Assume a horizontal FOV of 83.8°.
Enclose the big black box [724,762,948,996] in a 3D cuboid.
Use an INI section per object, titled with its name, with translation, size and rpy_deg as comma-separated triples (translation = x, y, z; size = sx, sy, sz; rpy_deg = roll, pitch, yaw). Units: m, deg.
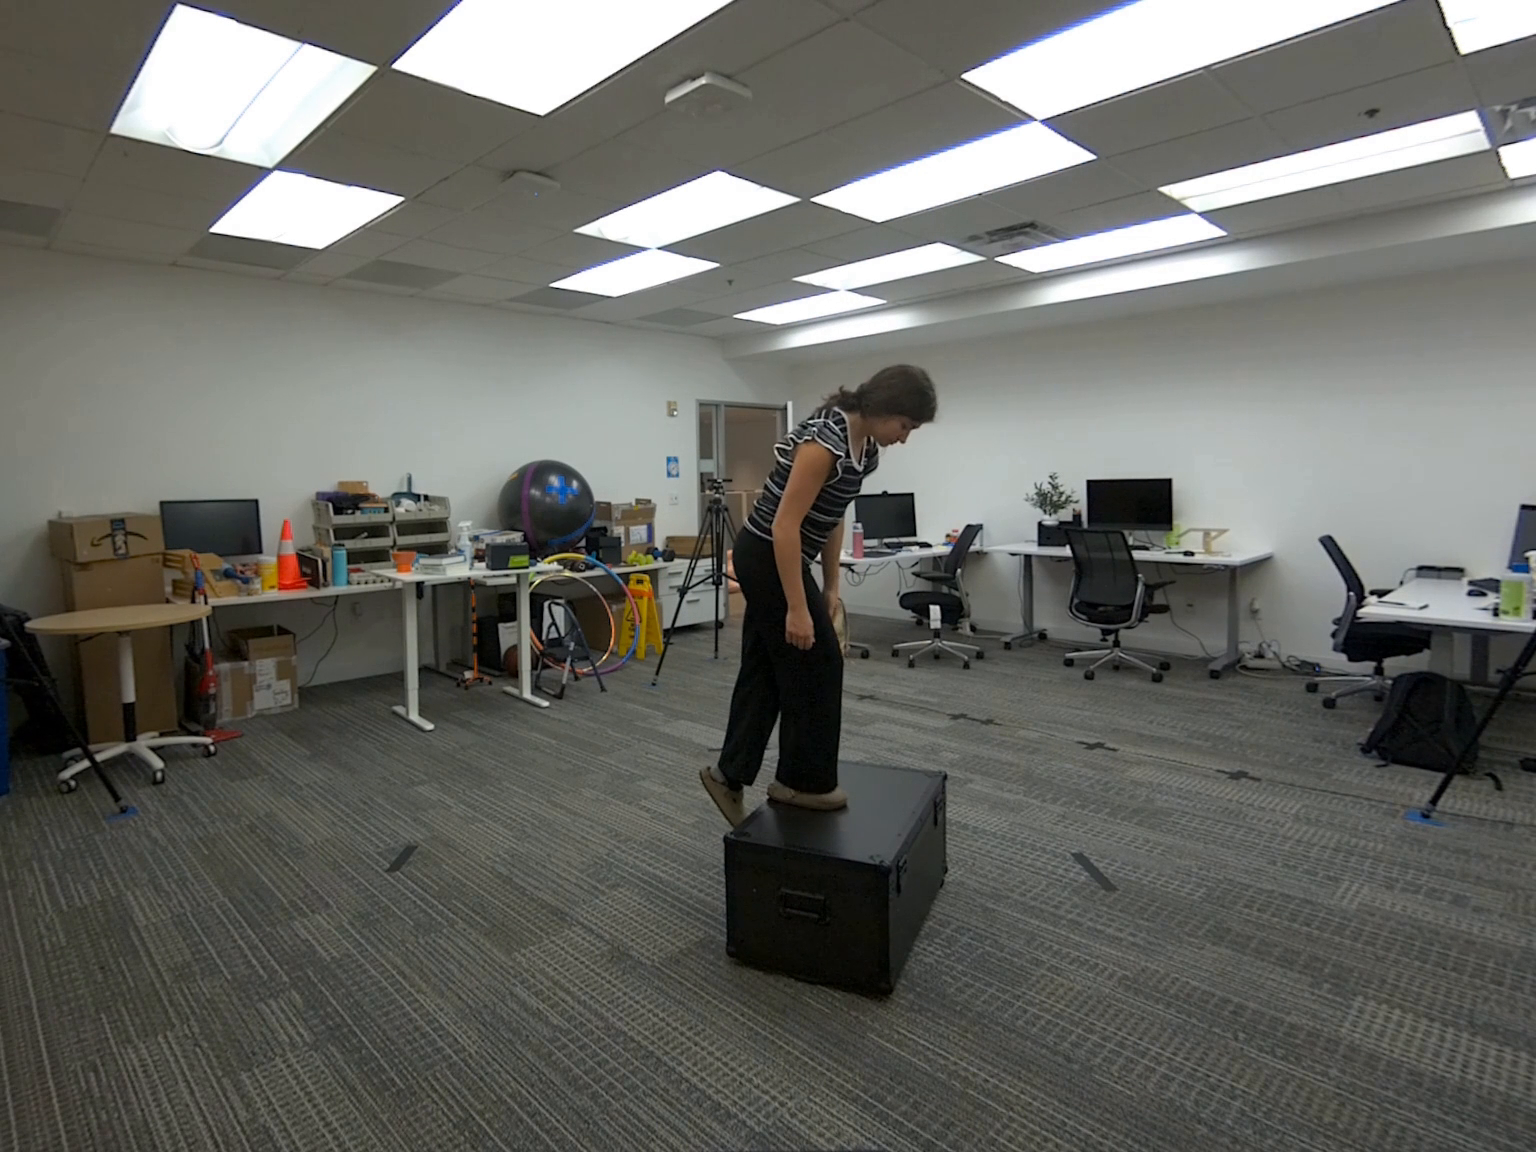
[big black box]
translation = 0.266, 0.893, 2.730
size = 0.533, 0.394, 0.847
rpy_deg = 0, 7, 23
